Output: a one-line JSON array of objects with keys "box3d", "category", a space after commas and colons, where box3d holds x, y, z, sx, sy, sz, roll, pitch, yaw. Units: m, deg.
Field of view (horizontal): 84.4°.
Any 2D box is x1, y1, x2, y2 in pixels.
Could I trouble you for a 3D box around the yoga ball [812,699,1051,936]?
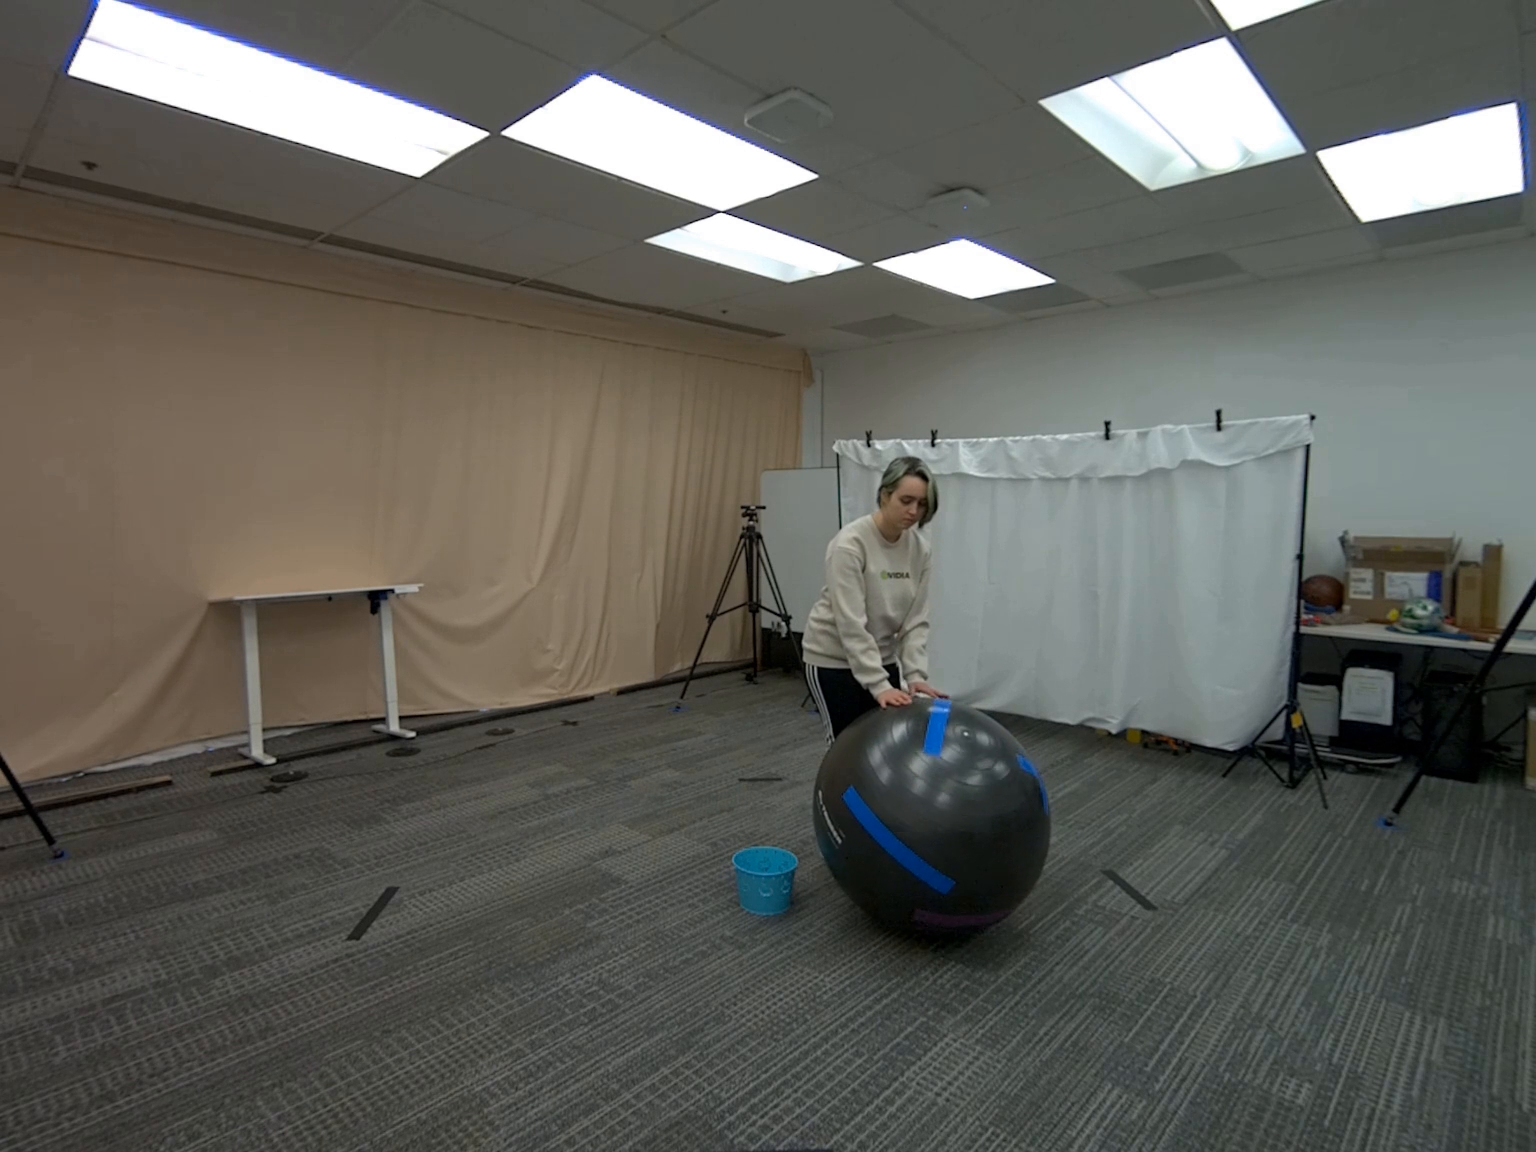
[{"box3d": [0.546, 0.799, 2.780, 0.757, 0.756, 0.760, 0, 4, -2], "category": "yoga ball"}]
